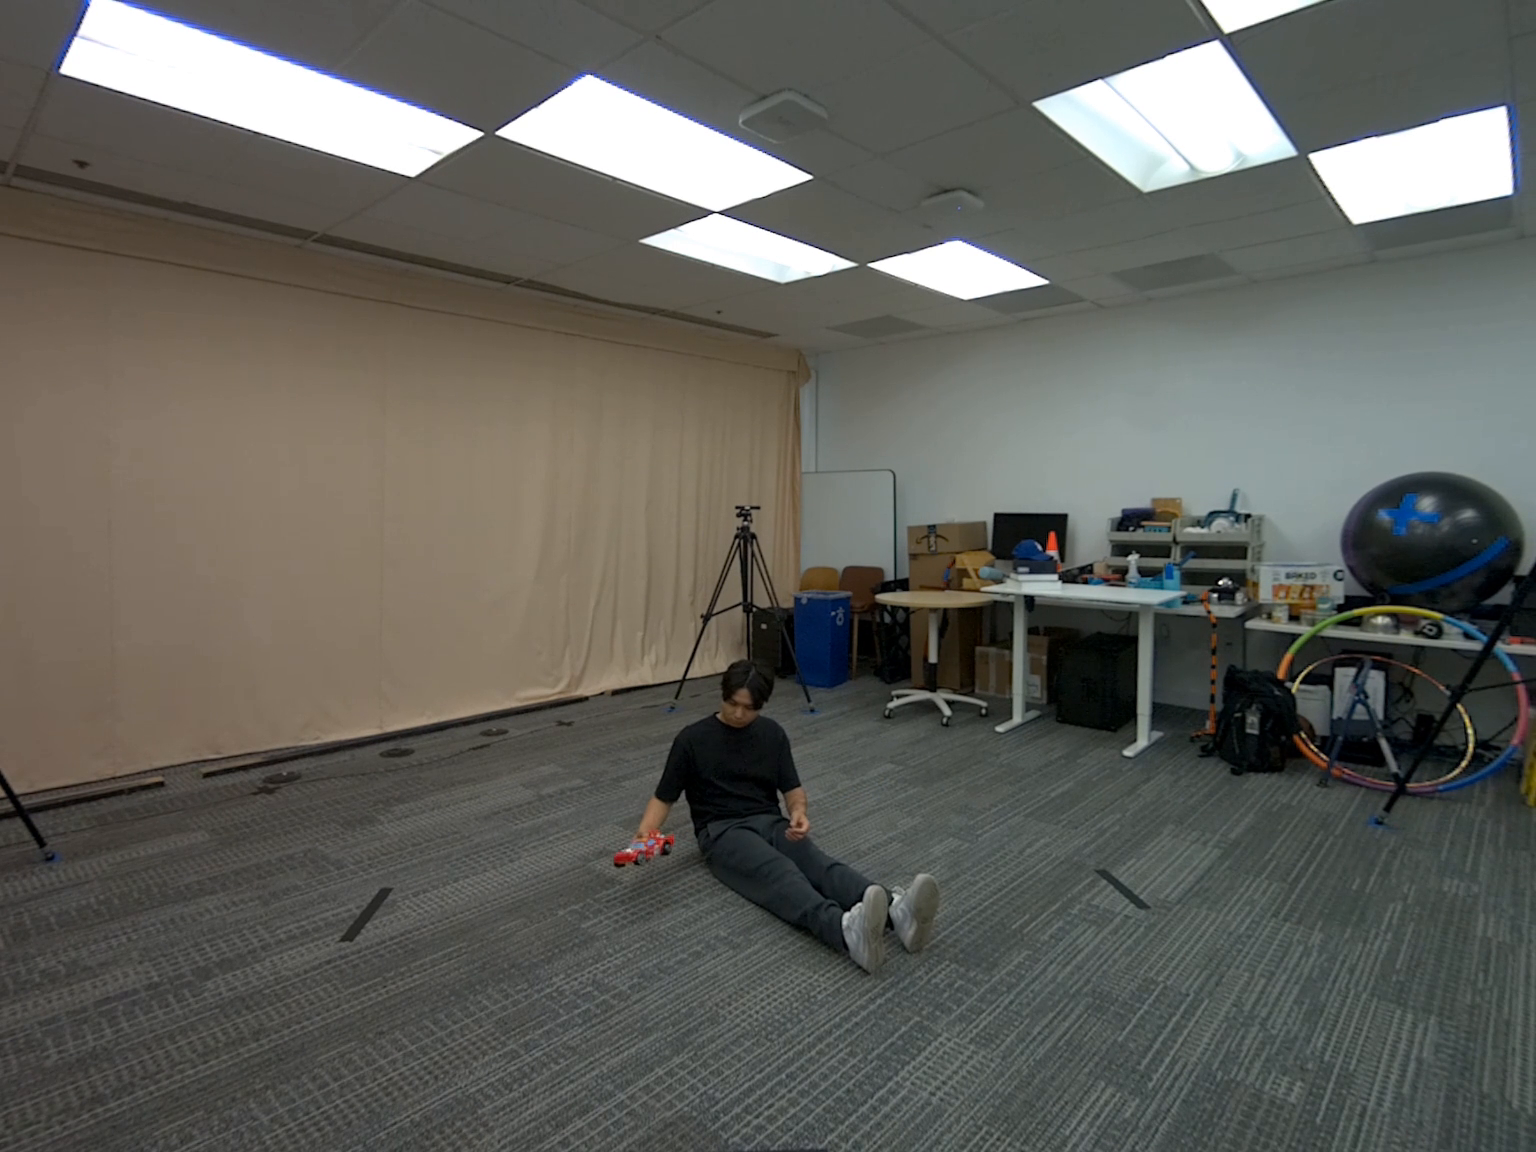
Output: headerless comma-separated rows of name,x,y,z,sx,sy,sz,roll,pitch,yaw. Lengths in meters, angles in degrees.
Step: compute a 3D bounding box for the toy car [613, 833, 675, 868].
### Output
toy car,-0.422,0.963,2.948,0.133,0.083,0.249,-20,-1,31
